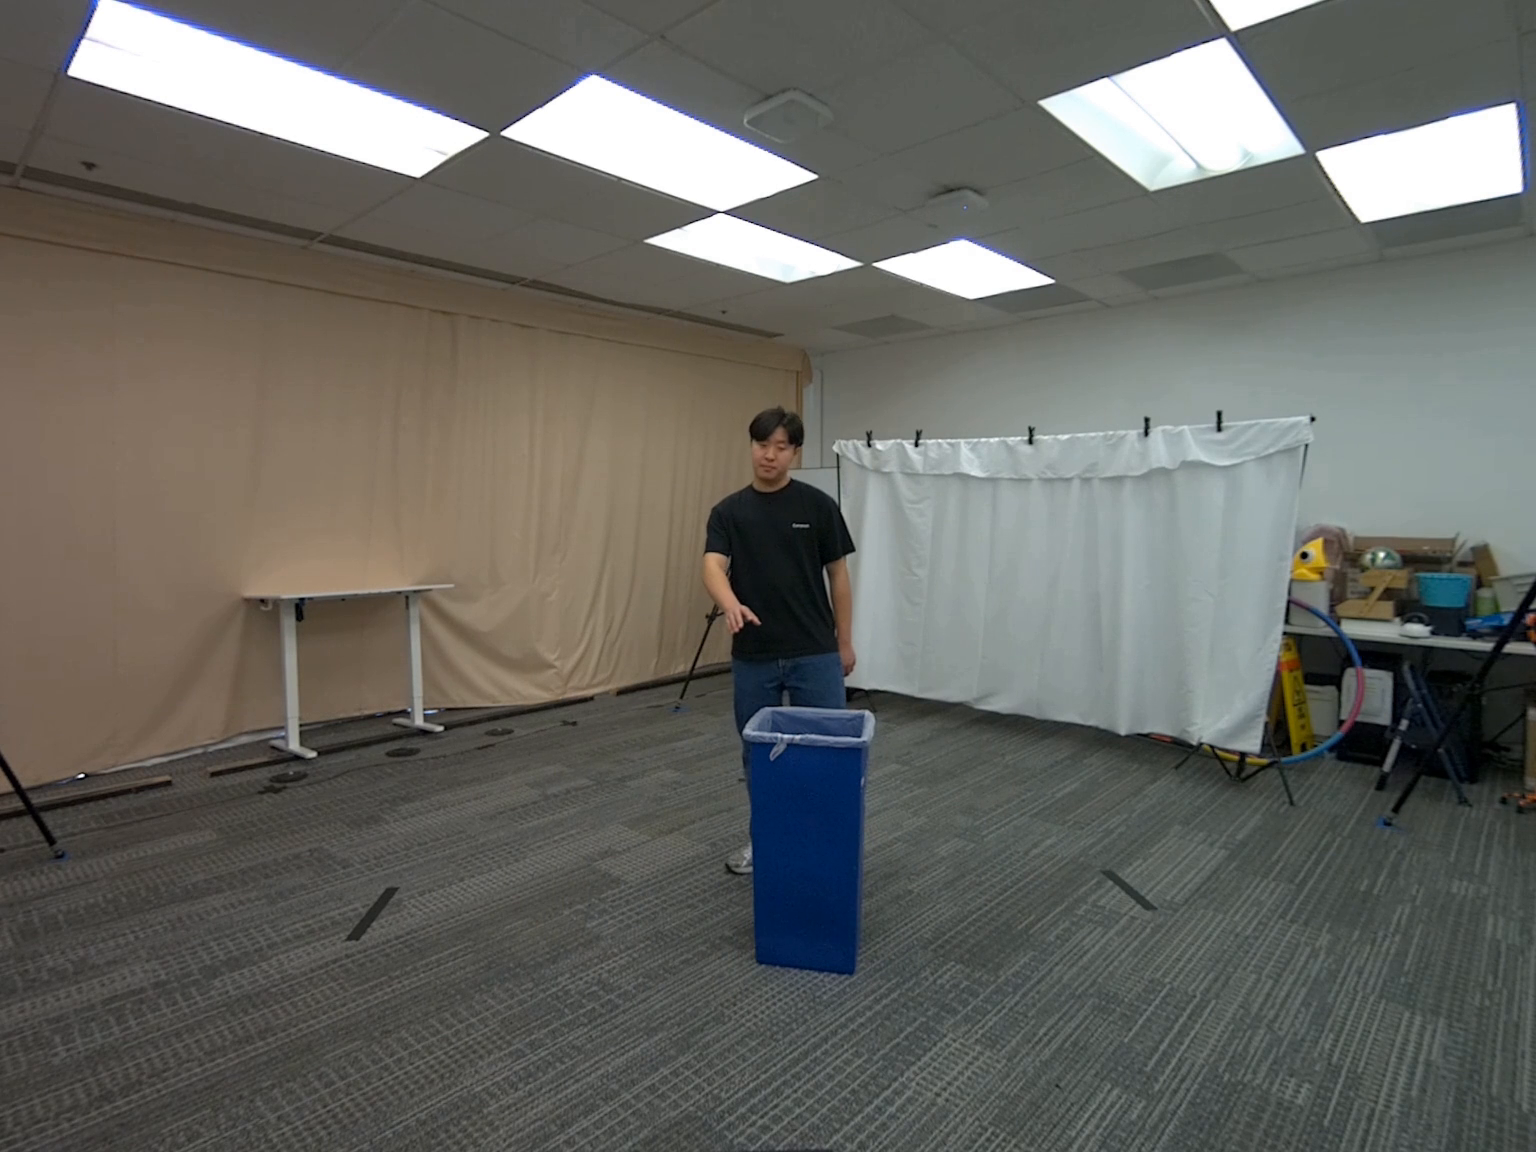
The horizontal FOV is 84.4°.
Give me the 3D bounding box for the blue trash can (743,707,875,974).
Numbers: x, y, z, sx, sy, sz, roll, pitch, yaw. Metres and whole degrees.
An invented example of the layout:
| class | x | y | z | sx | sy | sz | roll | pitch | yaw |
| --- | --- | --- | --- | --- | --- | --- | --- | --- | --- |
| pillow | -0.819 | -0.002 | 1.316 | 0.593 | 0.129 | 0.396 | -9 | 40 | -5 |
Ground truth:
| class | x | y | z | sx | sy | sz | roll | pitch | yaw |
| --- | --- | --- | --- | --- | --- | --- | --- | --- | --- |
| blue trash can | 0.139 | 0.810 | 2.655 | 0.383 | 0.713 | 0.369 | 0 | 2 | 11 |
